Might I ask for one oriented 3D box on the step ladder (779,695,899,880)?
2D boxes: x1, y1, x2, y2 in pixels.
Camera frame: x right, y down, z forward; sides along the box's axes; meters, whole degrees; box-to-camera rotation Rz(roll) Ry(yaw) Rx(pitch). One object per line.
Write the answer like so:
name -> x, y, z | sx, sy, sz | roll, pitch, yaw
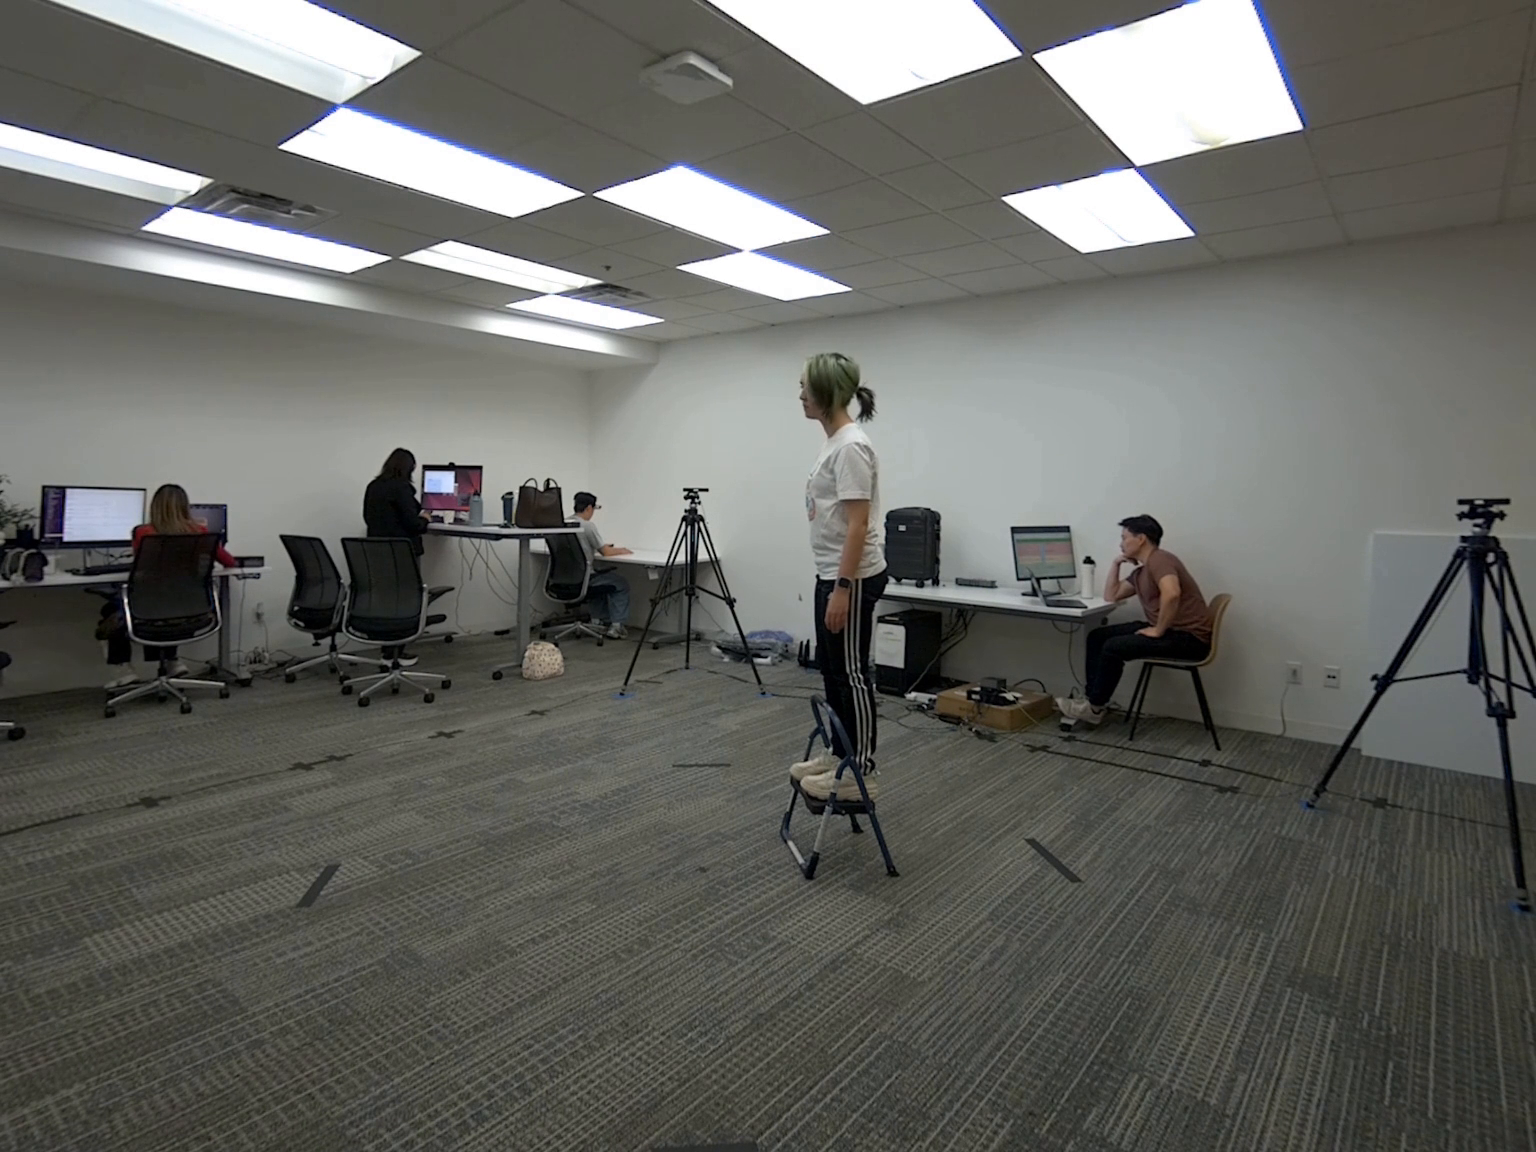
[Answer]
step ladder -> 0.258, 0.767, 3.255 | 0.345, 0.604, 0.437 | 2, 3, -12
